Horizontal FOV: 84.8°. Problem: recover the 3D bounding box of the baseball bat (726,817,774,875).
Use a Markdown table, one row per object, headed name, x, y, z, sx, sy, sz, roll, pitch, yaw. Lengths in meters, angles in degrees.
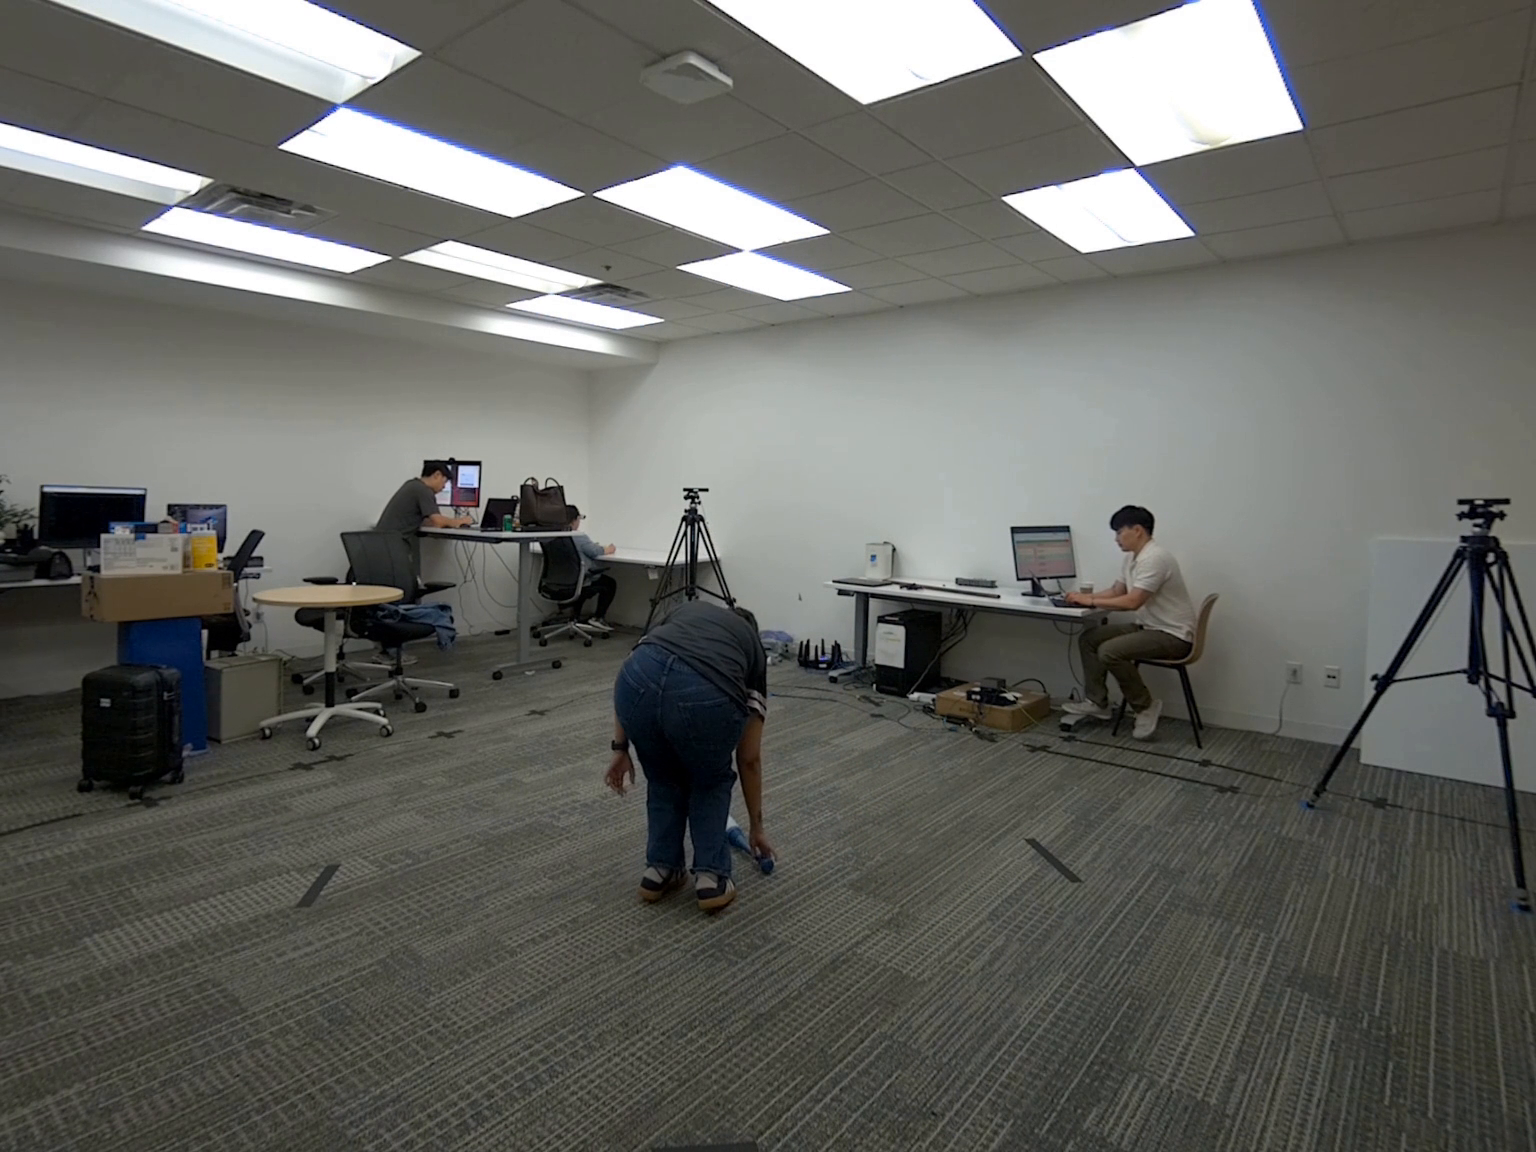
| name | x | y | z | sx | sy | sz | roll | pitch | yaw |
| --- | --- | --- | --- | --- | --- | --- | --- | --- | --- |
| baseball bat | -0.136 | 1.011 | 3.317 | 0.087 | 0.088 | 0.560 | -1 | 8 | -27 |
